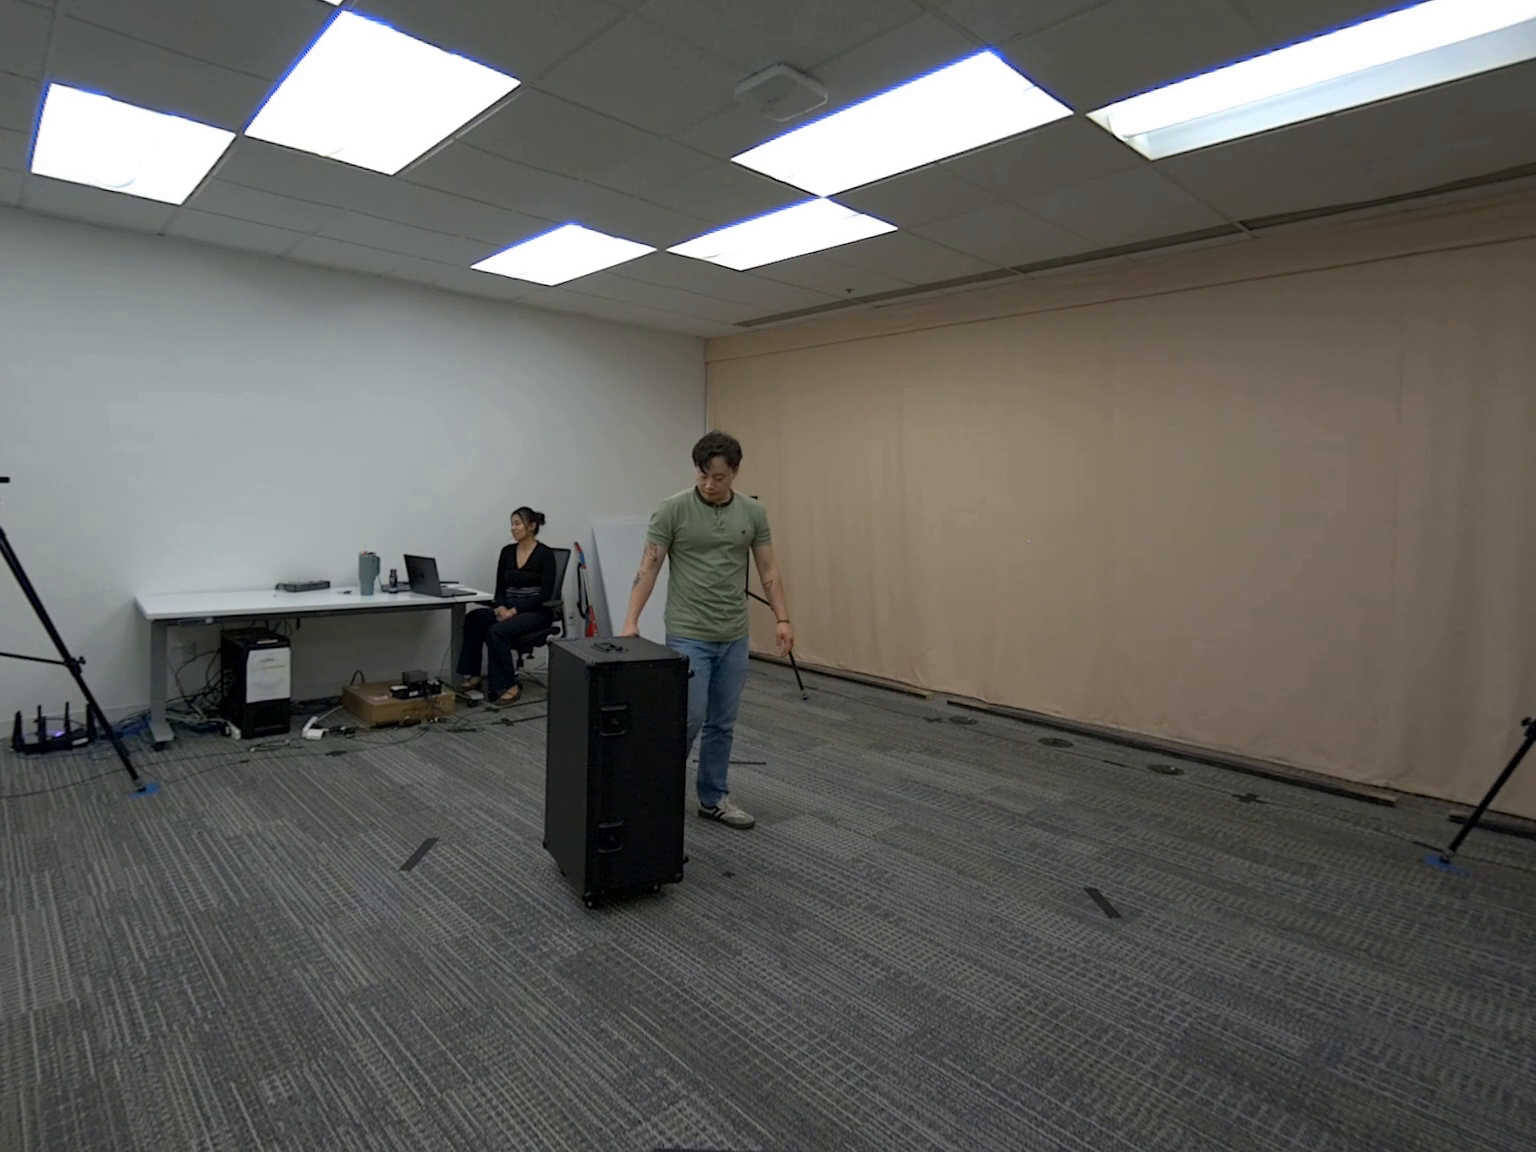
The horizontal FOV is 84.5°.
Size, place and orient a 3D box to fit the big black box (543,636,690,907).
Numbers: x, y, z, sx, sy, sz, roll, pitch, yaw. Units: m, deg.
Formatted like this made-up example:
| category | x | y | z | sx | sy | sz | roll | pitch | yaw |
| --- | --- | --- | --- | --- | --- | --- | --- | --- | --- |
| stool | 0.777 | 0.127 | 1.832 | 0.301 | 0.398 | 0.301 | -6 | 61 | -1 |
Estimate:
| category | x | y | z | sx | sy | sz | roll | pitch | yaw |
| --- | --- | --- | --- | --- | --- | --- | --- | --- | --- |
| big black box | -0.557 | 0.681 | 3.004 | 0.388 | 0.860 | 0.533 | 1 | 4 | -30 |
